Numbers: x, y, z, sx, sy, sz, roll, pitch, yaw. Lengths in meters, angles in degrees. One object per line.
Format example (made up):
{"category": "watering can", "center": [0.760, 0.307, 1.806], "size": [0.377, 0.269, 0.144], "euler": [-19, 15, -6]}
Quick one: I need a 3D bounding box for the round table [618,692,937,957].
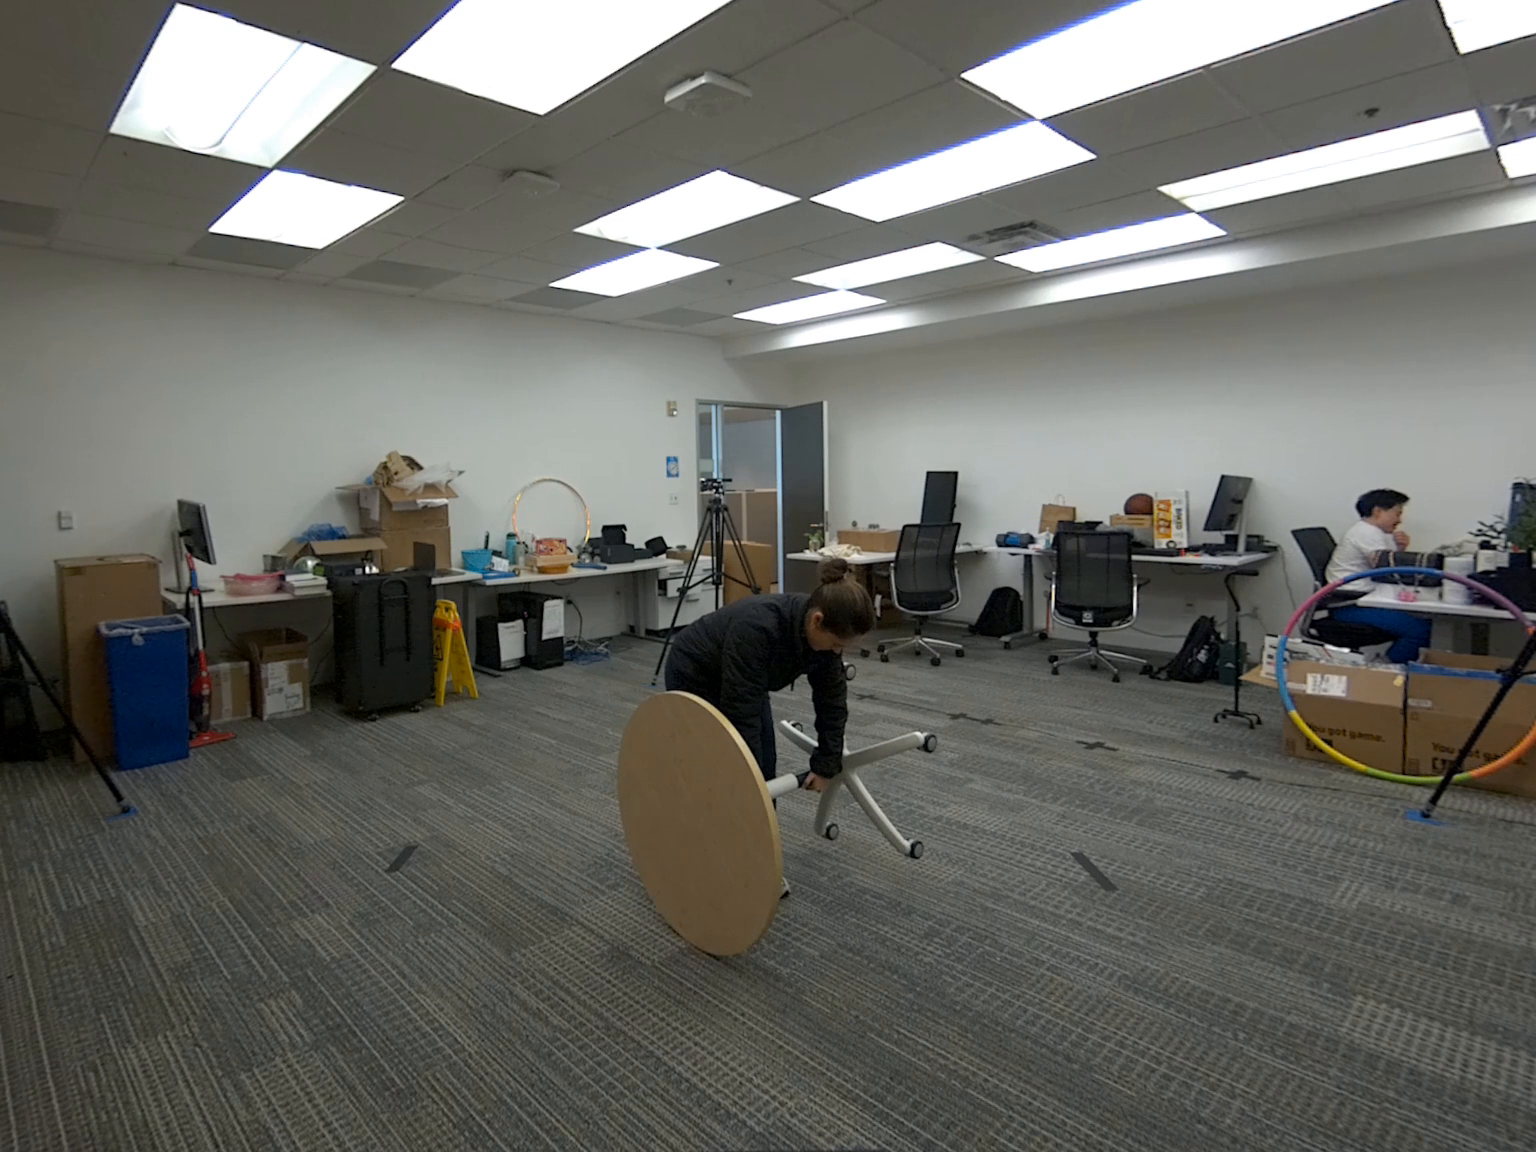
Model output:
{"category": "round table", "center": [0.045, 0.696, 2.813], "size": [0.766, 0.782, 0.809], "euler": [-6, 7, -42]}
